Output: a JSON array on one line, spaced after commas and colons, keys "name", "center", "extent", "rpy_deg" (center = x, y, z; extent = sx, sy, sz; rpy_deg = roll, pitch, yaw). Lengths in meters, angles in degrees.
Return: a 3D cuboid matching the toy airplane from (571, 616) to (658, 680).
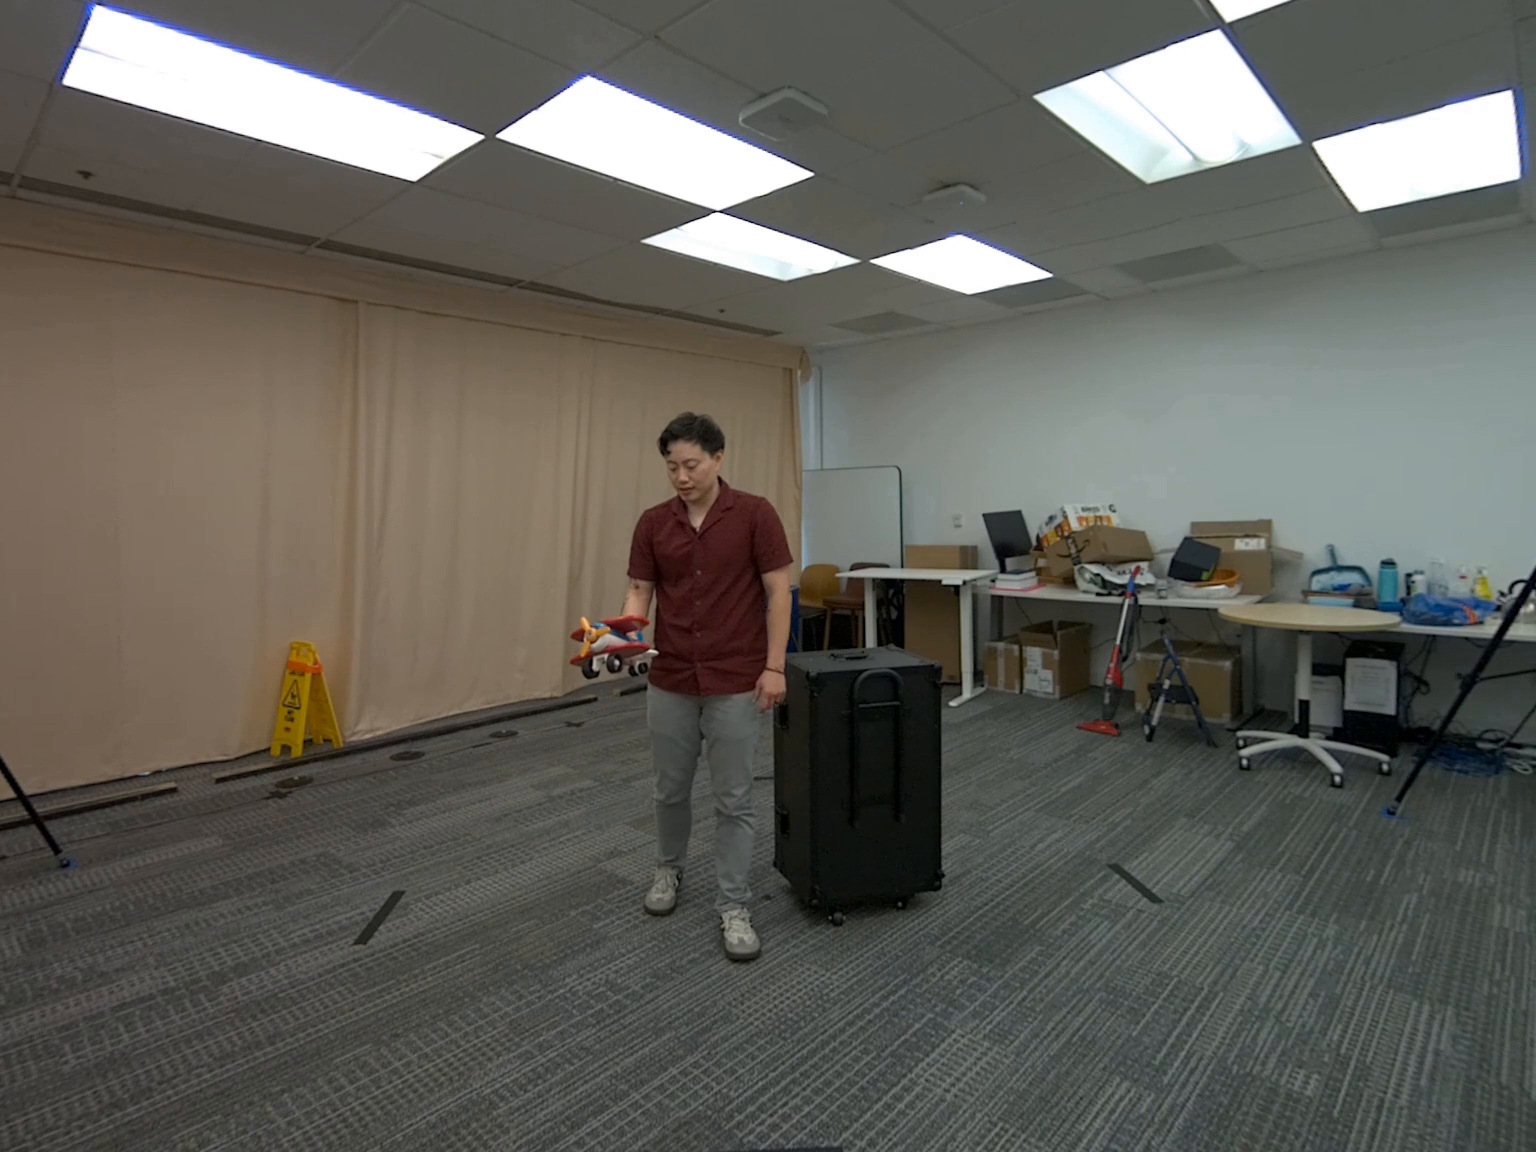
[{"name": "toy airplane", "center": [-0.460, 0.217, 2.446], "extent": [0.251, 0.158, 0.257], "rpy_deg": [-10, -11, -2]}]
